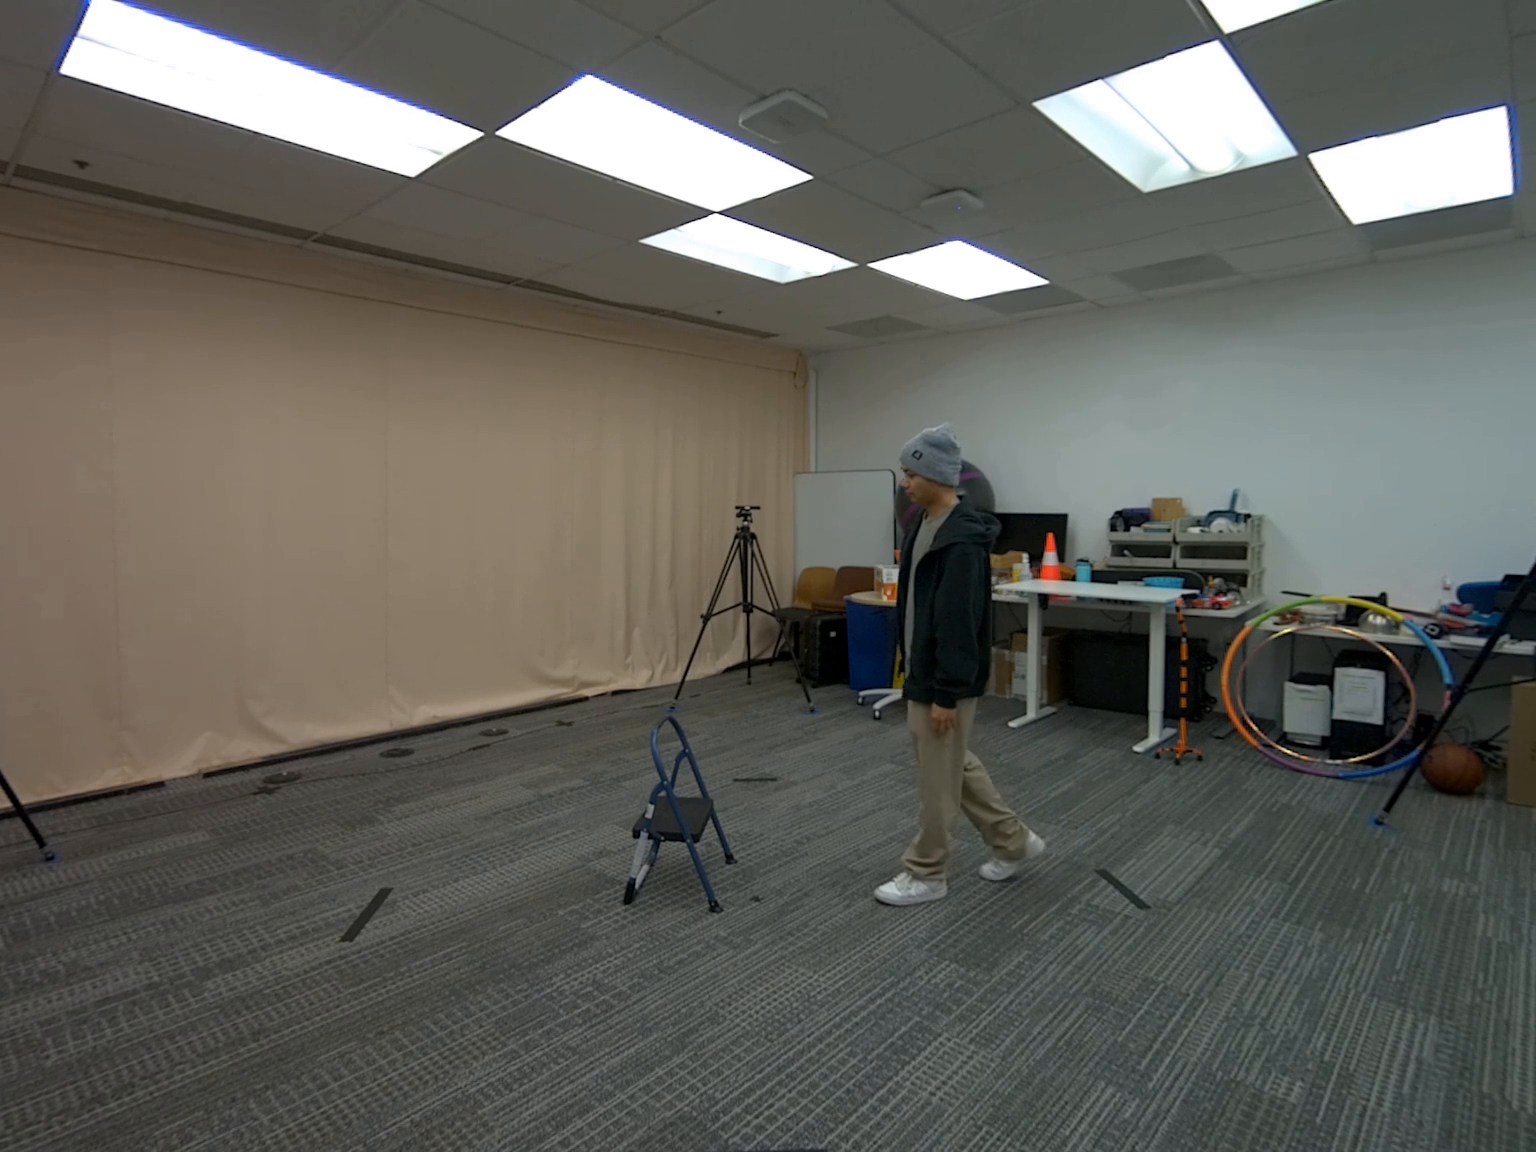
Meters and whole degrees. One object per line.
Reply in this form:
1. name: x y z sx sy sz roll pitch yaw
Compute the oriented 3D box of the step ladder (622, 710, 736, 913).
1. step ladder: -0.317 0.837 3.110 0.352 0.604 0.428 0 4 7
